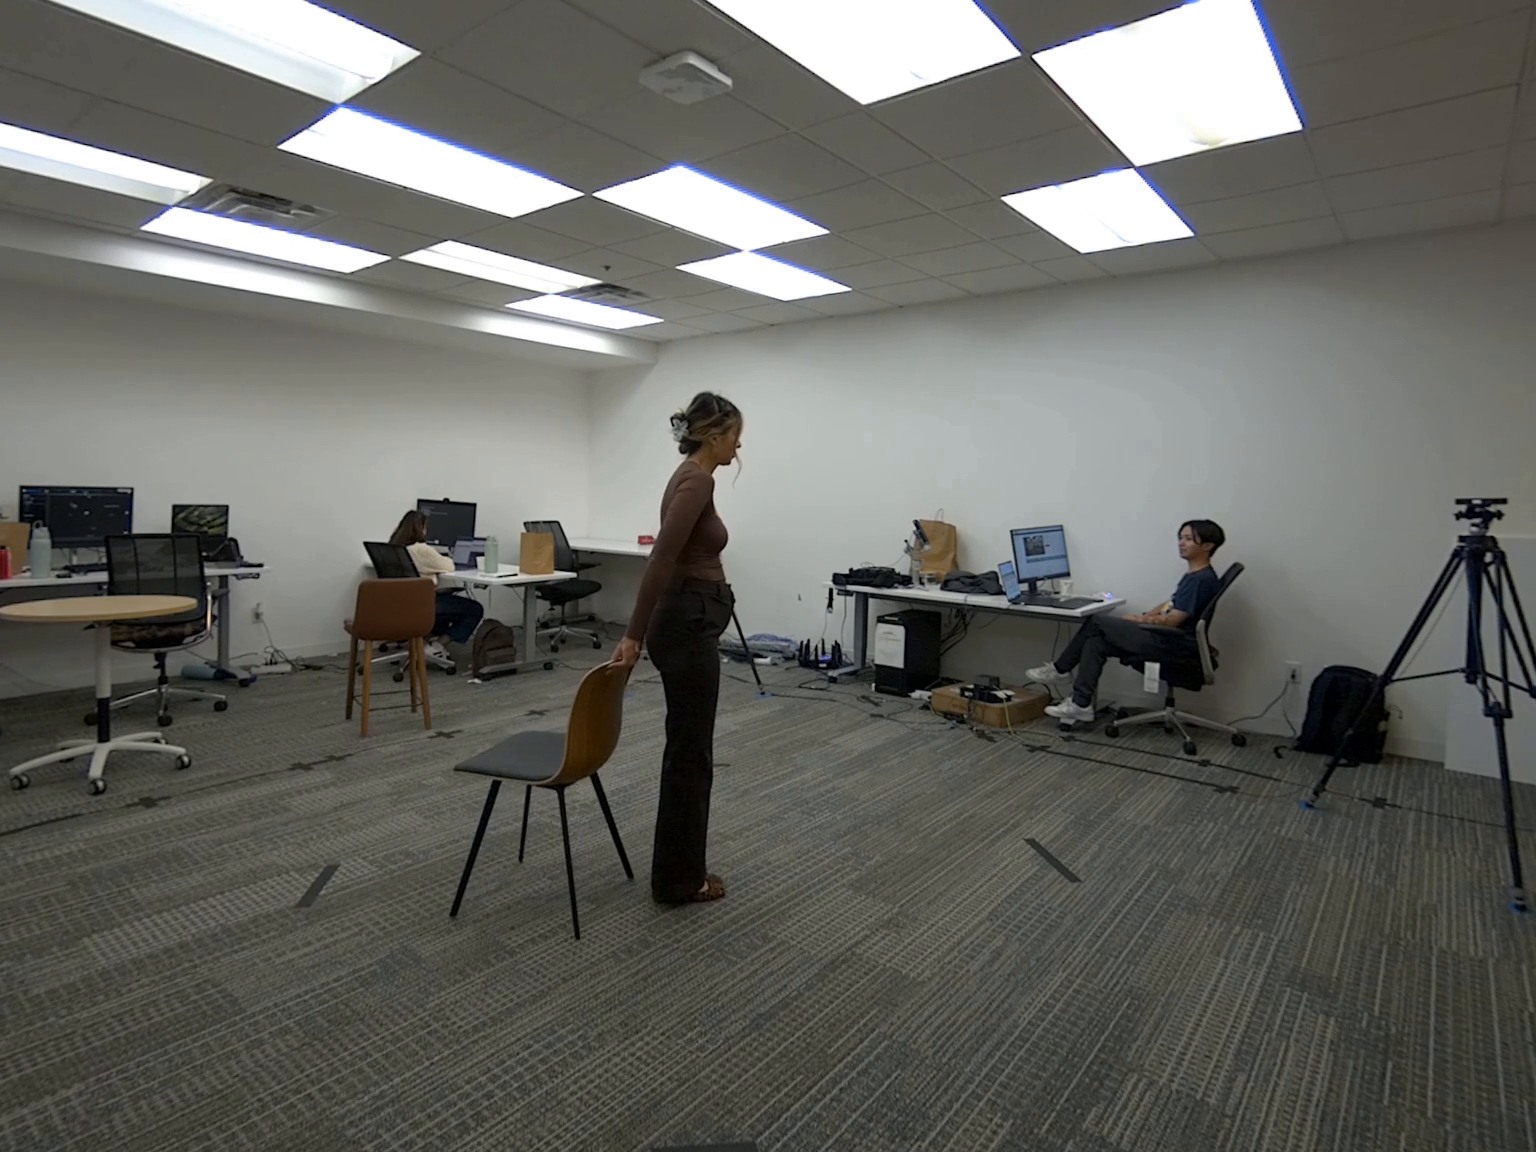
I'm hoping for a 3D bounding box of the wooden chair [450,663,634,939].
[{"bbox_3d":[-0.756,0.658,2.854,0.533,0.874,0.471,6,5,15],"label":"wooden chair"}]
